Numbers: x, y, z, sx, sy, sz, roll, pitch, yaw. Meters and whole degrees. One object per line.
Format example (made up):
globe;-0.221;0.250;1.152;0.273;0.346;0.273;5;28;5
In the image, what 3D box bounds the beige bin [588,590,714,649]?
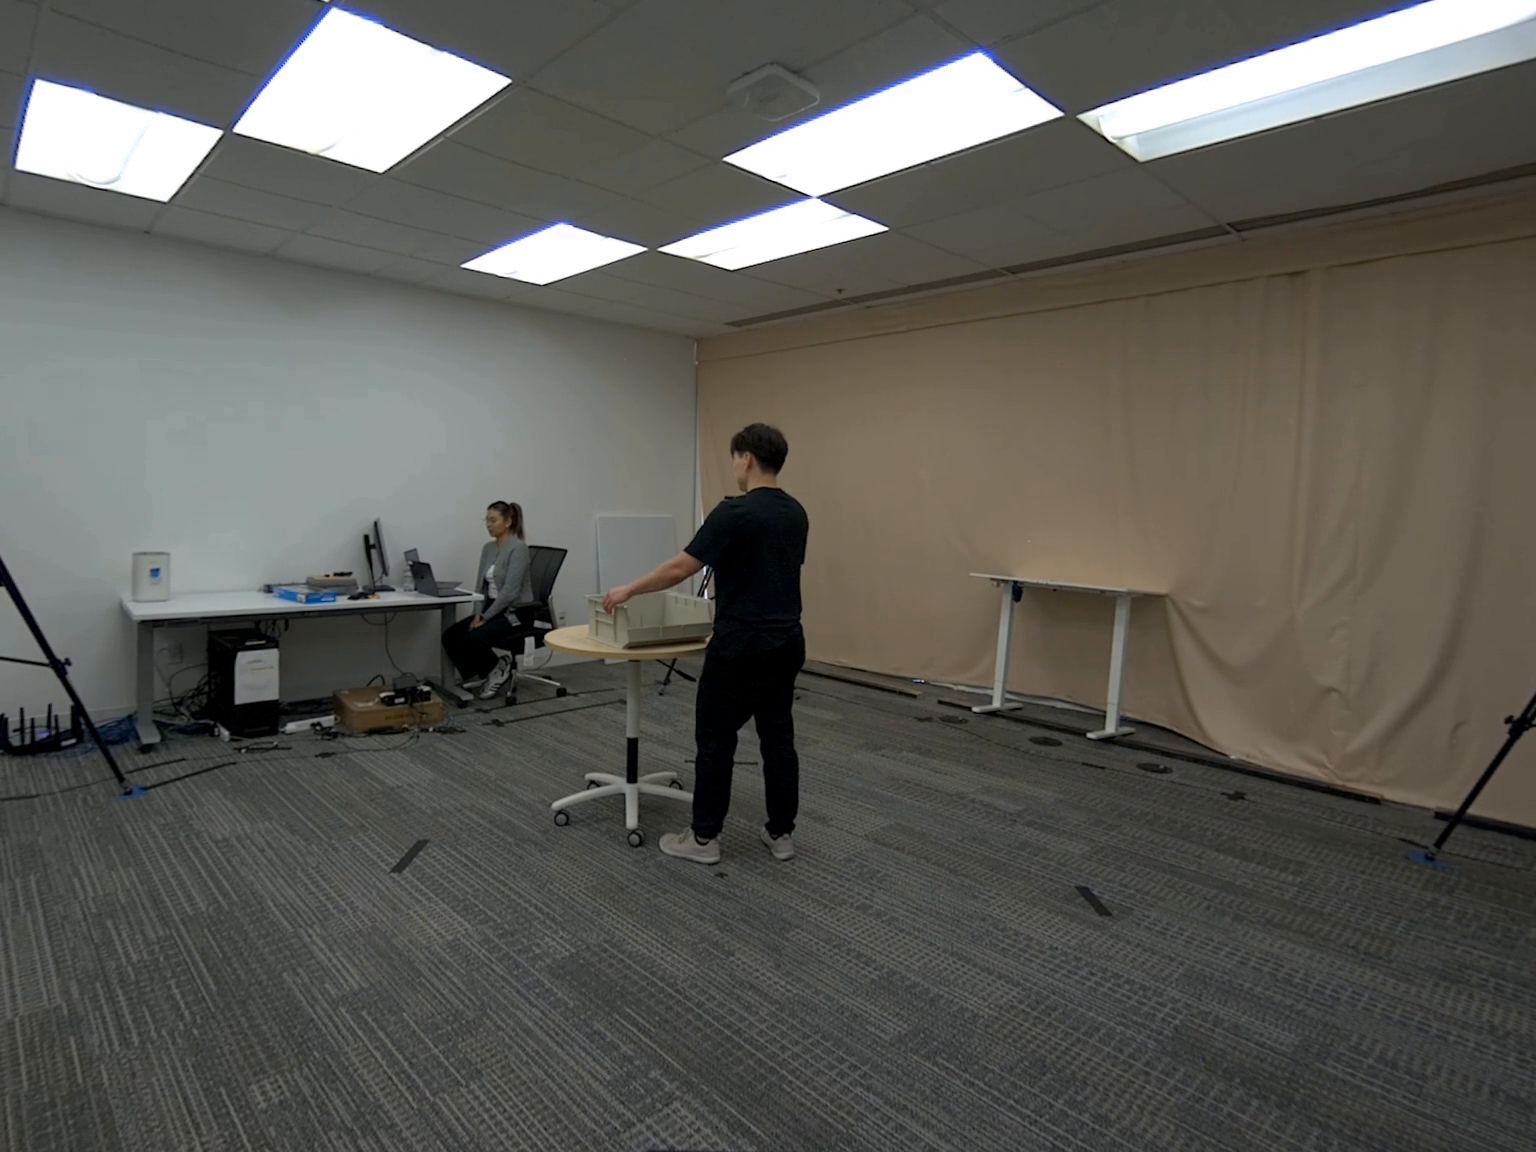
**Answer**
beige bin;-0.509;0.187;3.565;0.413;0.188;0.386;-3;5;-36
